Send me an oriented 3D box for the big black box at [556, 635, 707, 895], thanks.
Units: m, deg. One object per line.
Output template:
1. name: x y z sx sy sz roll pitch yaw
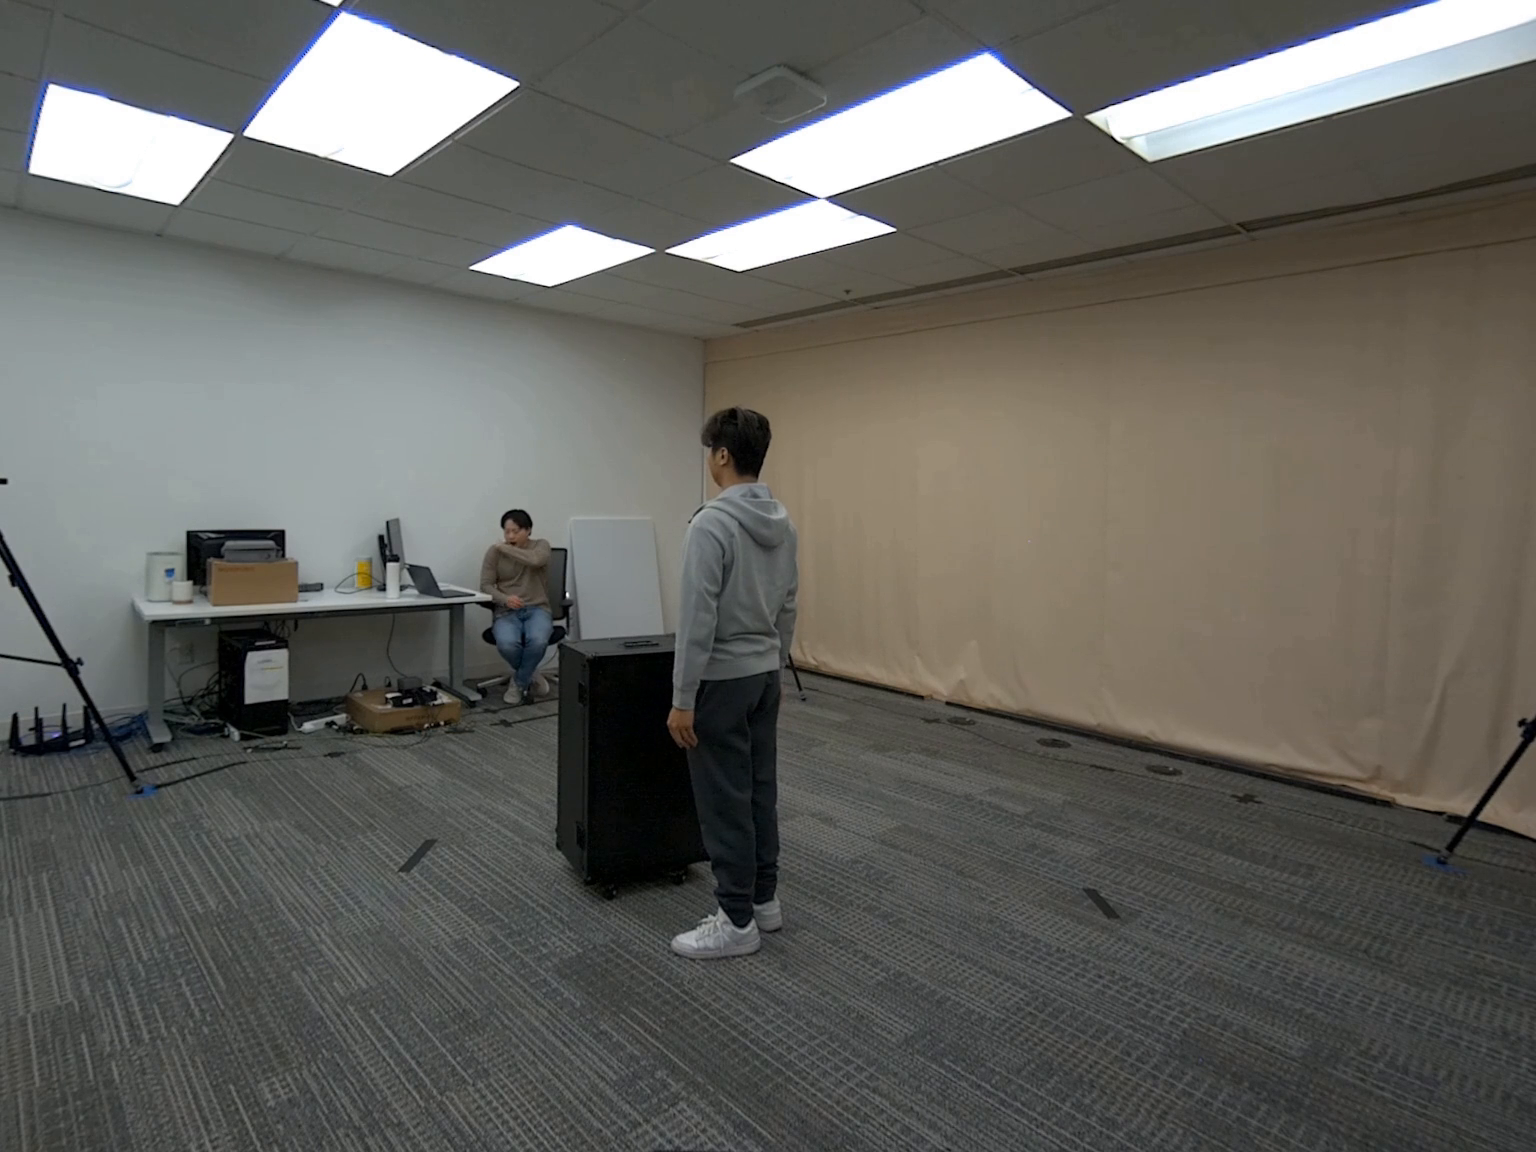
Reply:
1. big black box: -0.509 0.675 3.109 0.511 0.860 0.404 -1 2 -29
